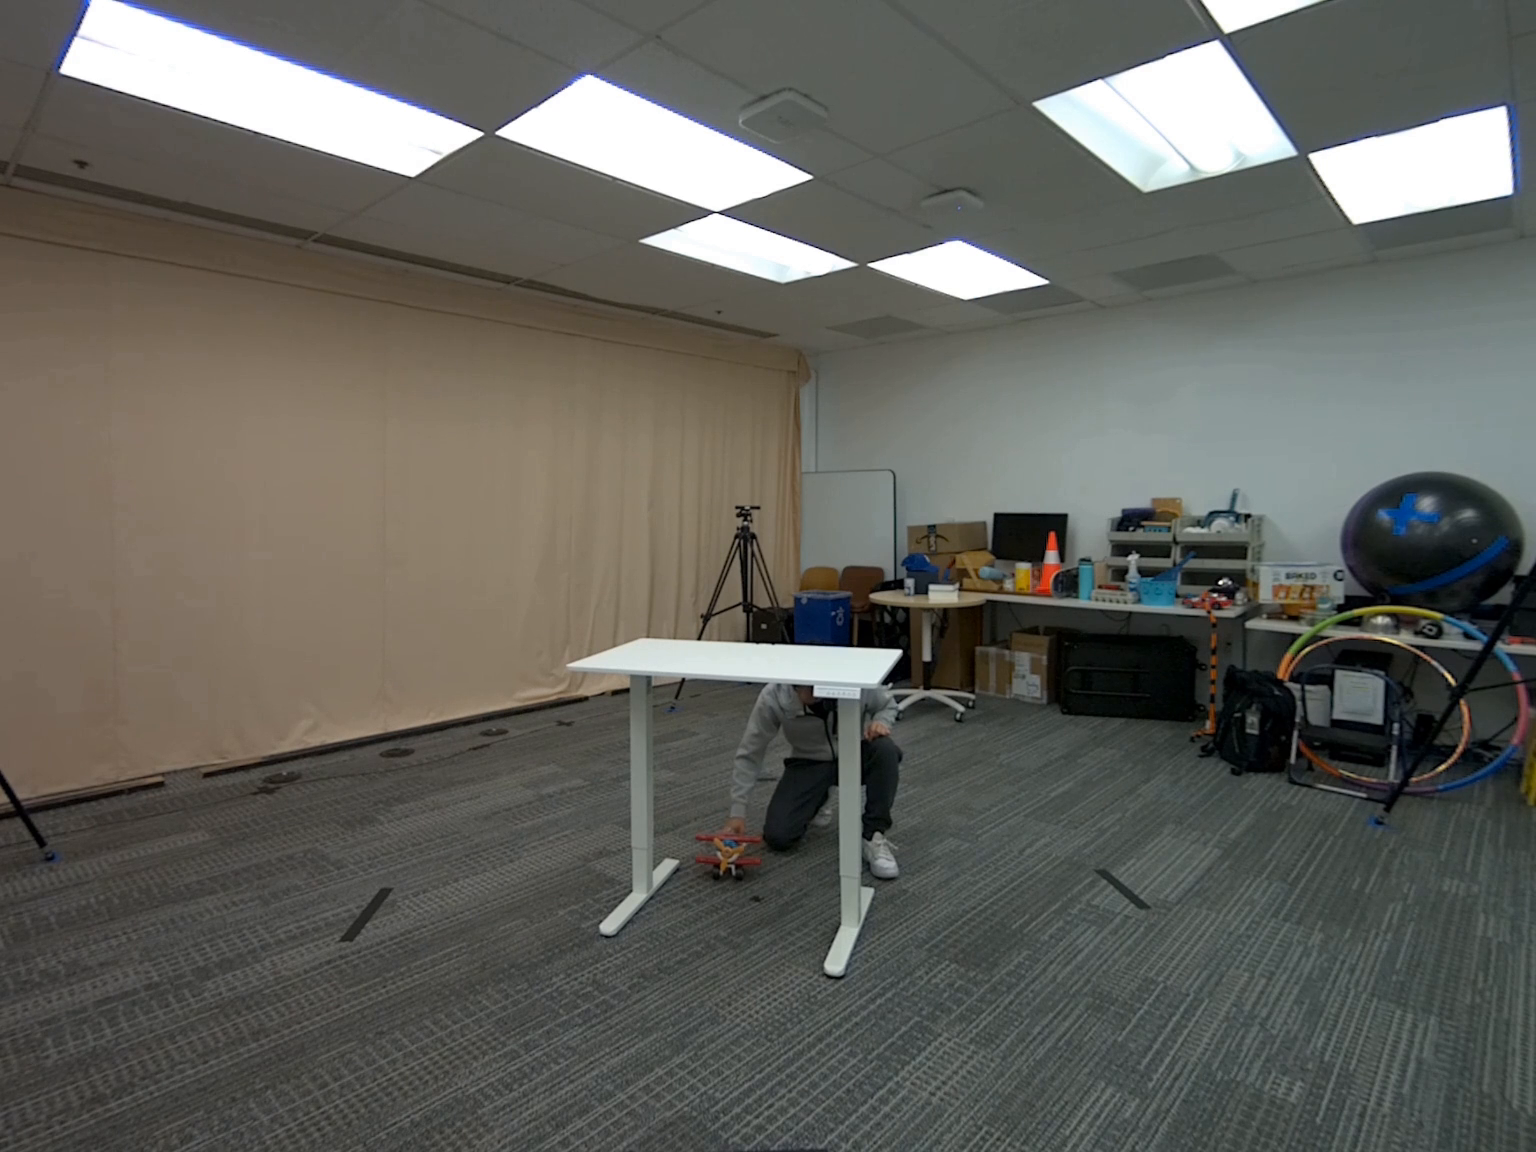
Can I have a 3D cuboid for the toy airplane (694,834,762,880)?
[{"bbox_3d":[-0.166,1.050,3.216,0.245,0.156,0.266,-1,5,-24],"label":"toy airplane"}]
